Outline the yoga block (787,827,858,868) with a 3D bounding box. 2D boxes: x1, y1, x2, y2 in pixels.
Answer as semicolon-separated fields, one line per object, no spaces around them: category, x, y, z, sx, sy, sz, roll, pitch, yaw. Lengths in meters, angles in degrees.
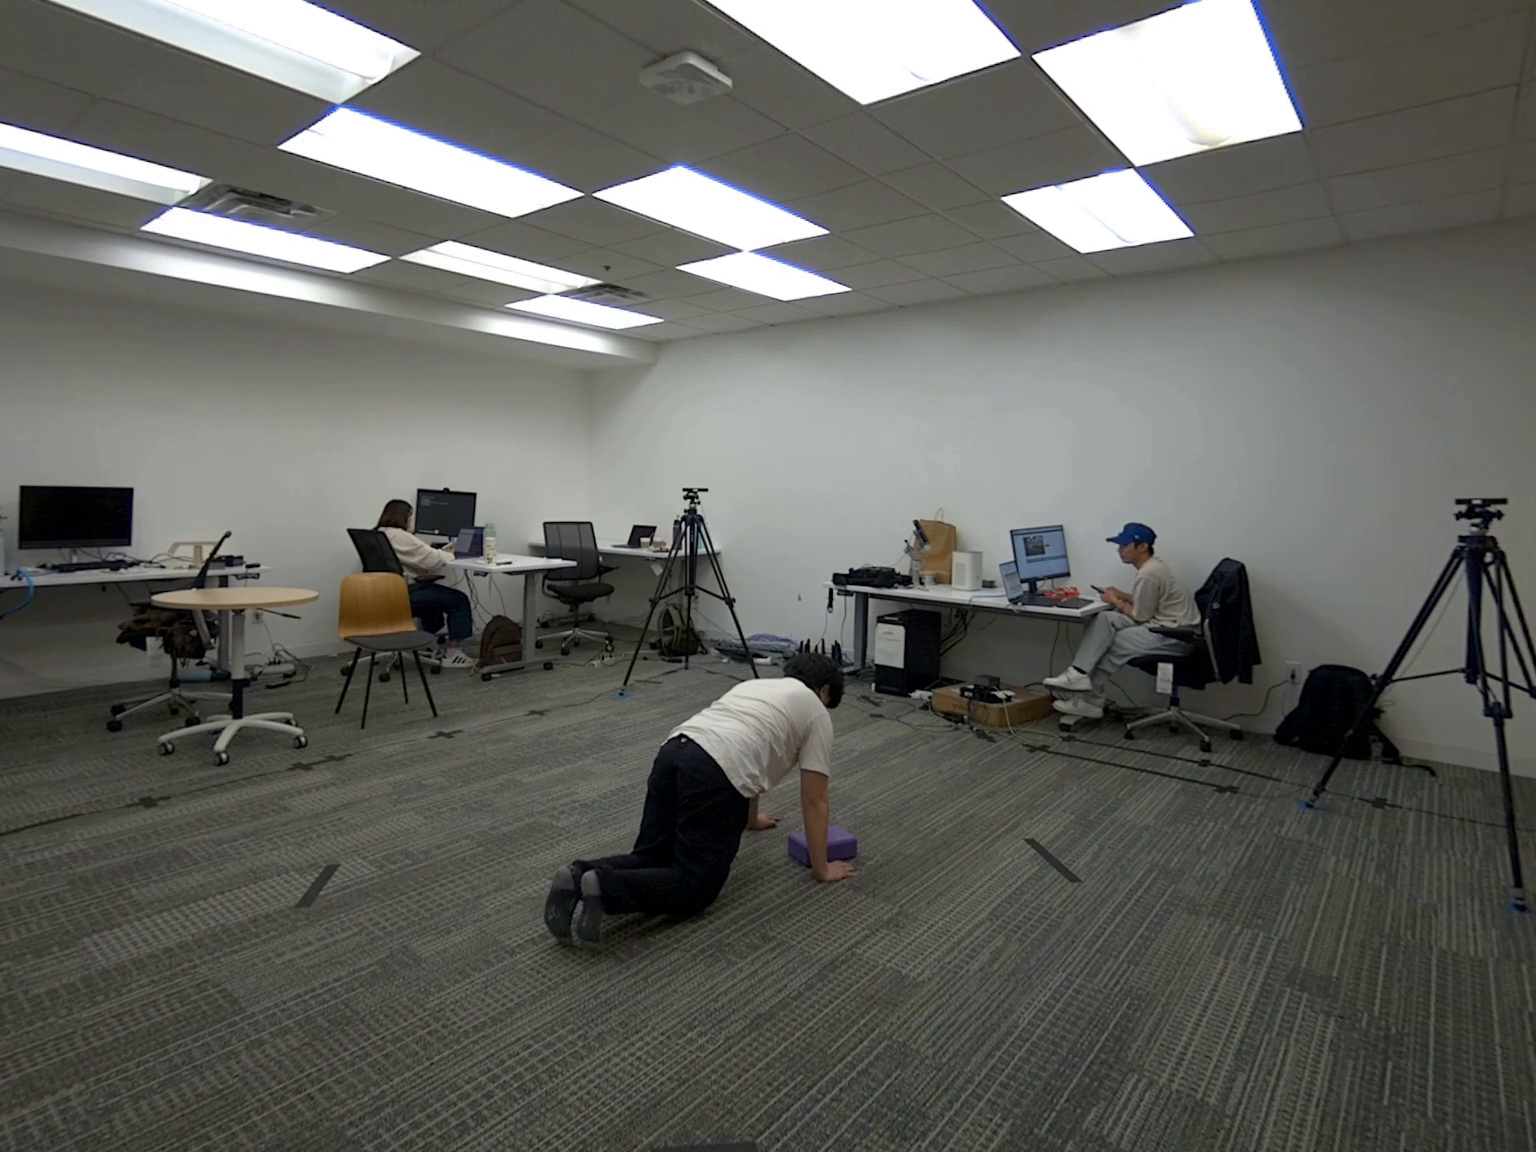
yoga block;0.197;1.021;3.249;0.223;0.076;0.153;-1;6;-30
